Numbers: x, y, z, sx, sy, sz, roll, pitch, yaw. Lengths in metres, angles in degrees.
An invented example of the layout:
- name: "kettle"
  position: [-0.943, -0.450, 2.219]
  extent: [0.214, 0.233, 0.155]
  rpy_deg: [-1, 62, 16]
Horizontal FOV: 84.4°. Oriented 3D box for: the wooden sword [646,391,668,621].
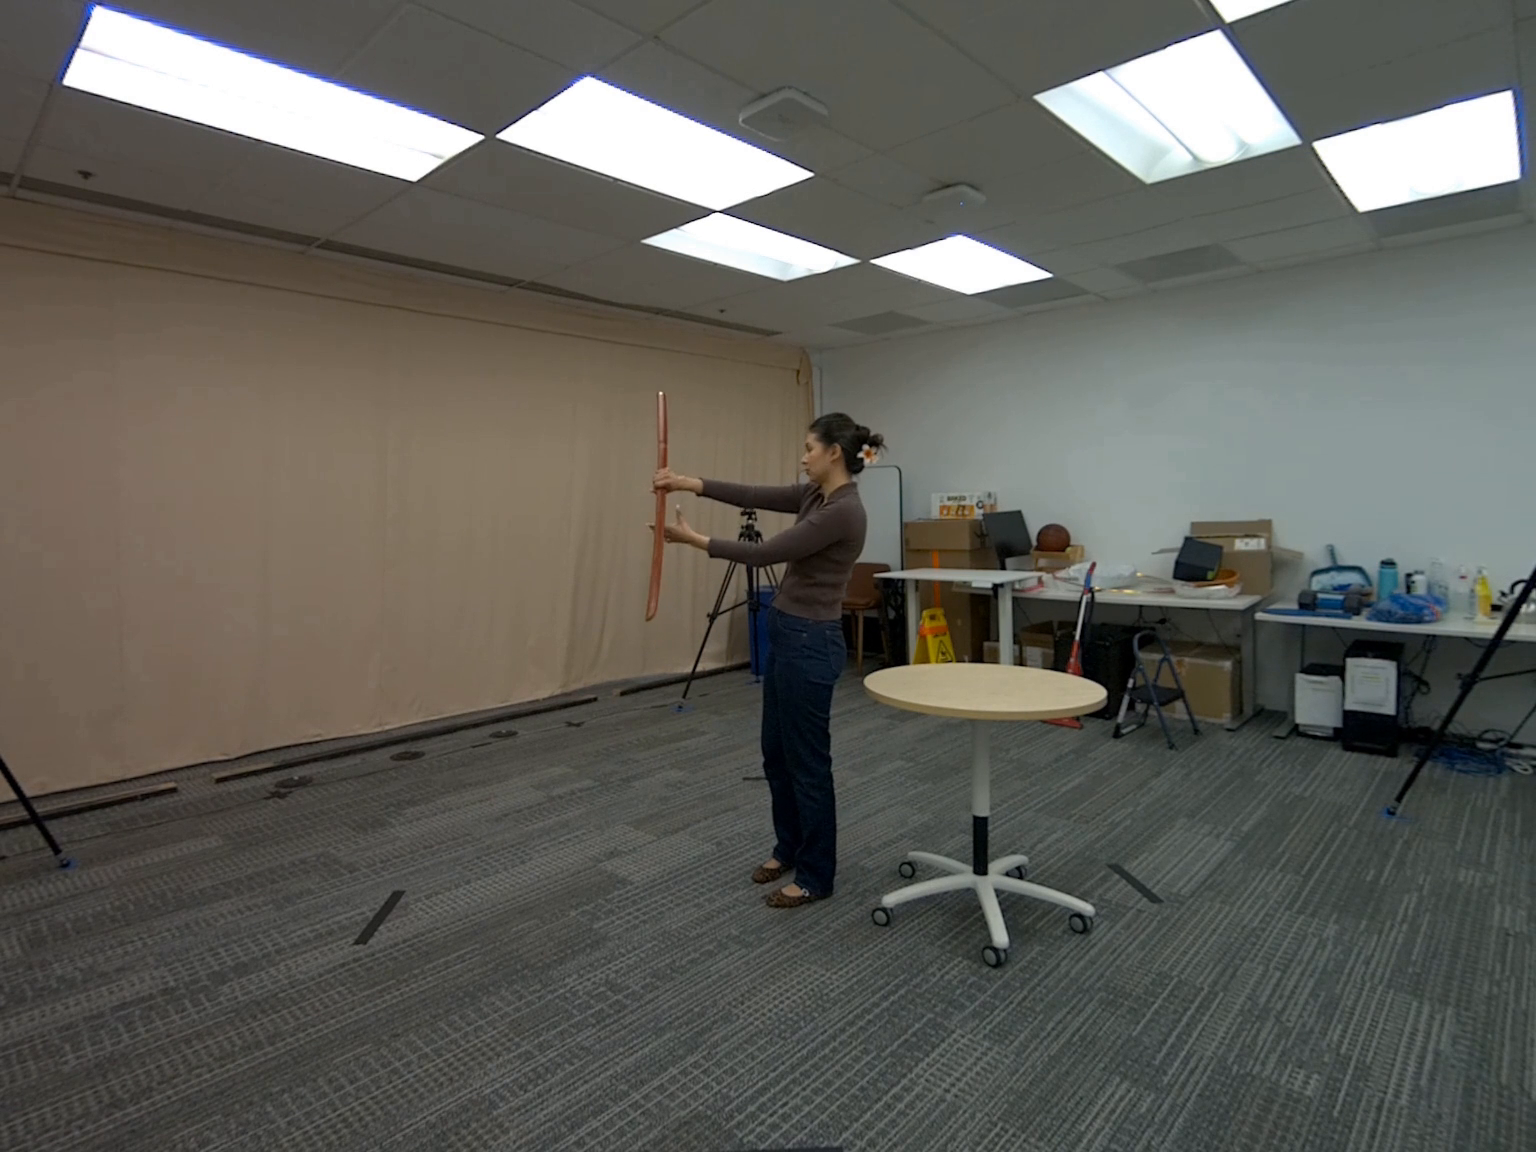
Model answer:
- name: "wooden sword"
  position: [-0.374, -0.277, 2.921]
  extent: [0.024, 1.044, 0.051]
  rpy_deg: [2, -36, -8]
